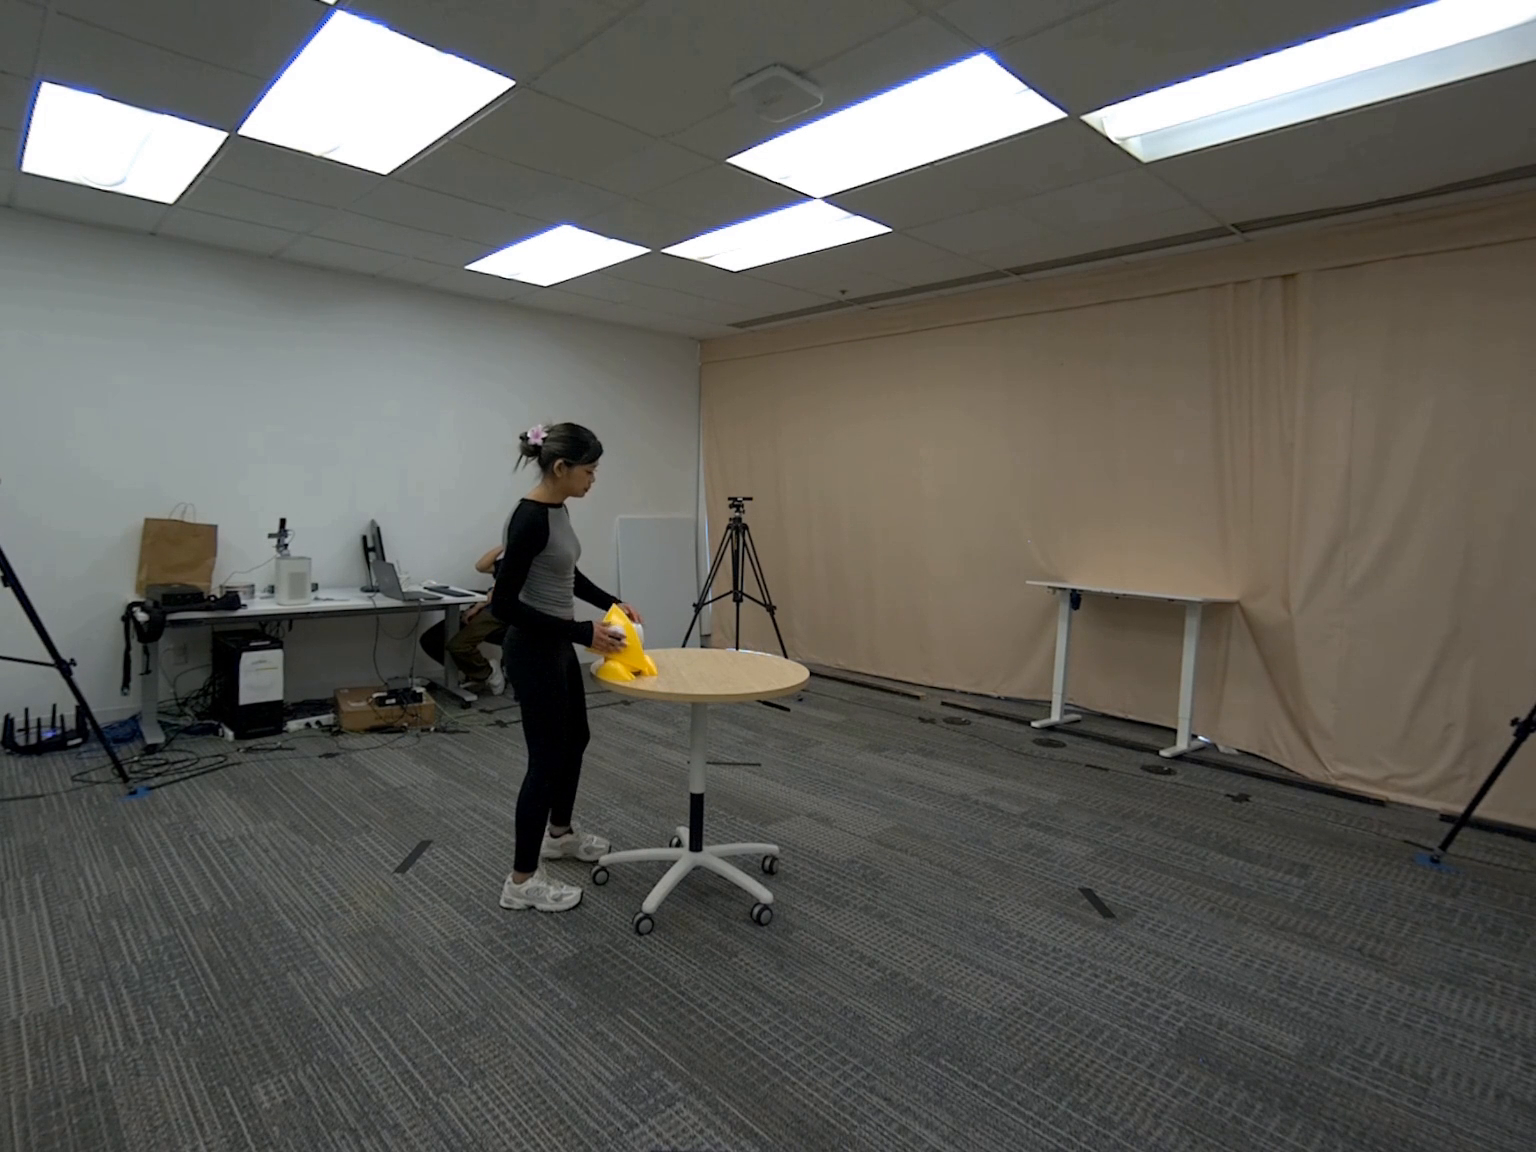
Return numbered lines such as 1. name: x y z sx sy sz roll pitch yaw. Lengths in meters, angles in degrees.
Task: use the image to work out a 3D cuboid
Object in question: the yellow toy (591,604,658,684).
1. yellow toy: -0.489 0.216 2.828 0.198 0.230 0.200 7 7 35
